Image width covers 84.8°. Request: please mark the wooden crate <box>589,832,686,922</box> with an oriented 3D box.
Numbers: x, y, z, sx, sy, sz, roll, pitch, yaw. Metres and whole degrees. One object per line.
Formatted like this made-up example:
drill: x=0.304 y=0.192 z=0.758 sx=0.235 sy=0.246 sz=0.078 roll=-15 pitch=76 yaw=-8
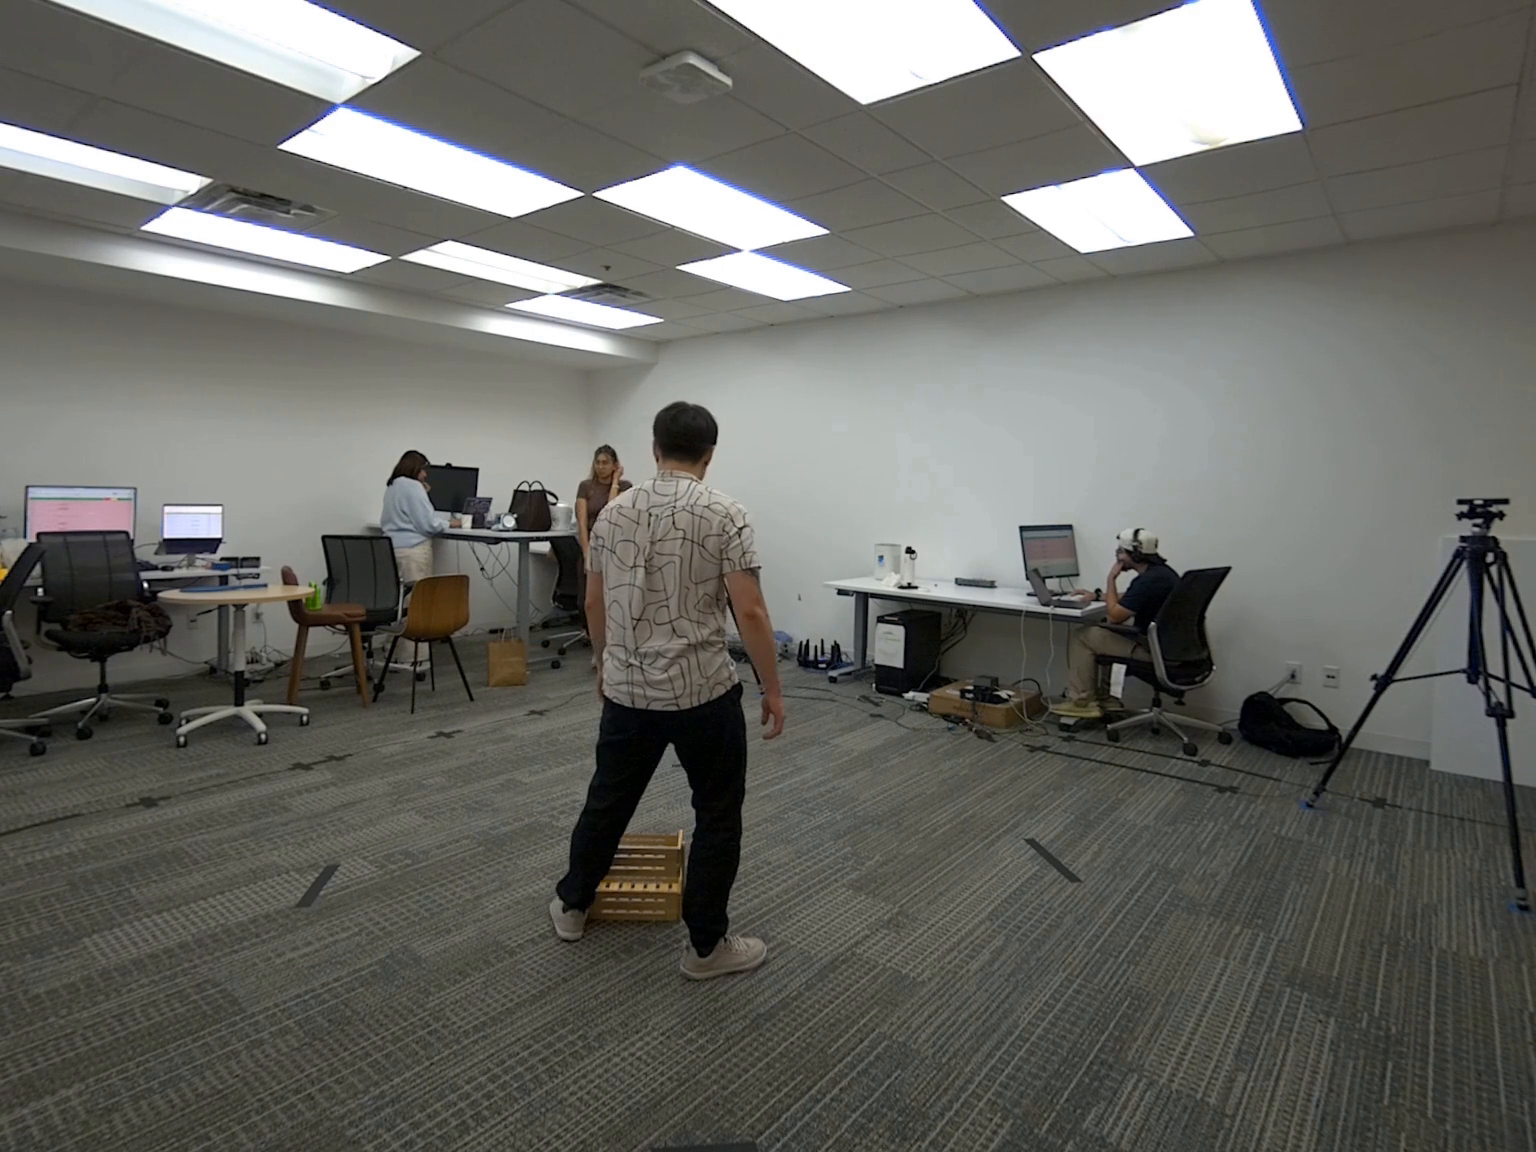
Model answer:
wooden crate: x=-0.439 y=0.961 z=2.822 sx=0.324 sy=0.272 sz=0.304 roll=0 pitch=7 yaw=-2
